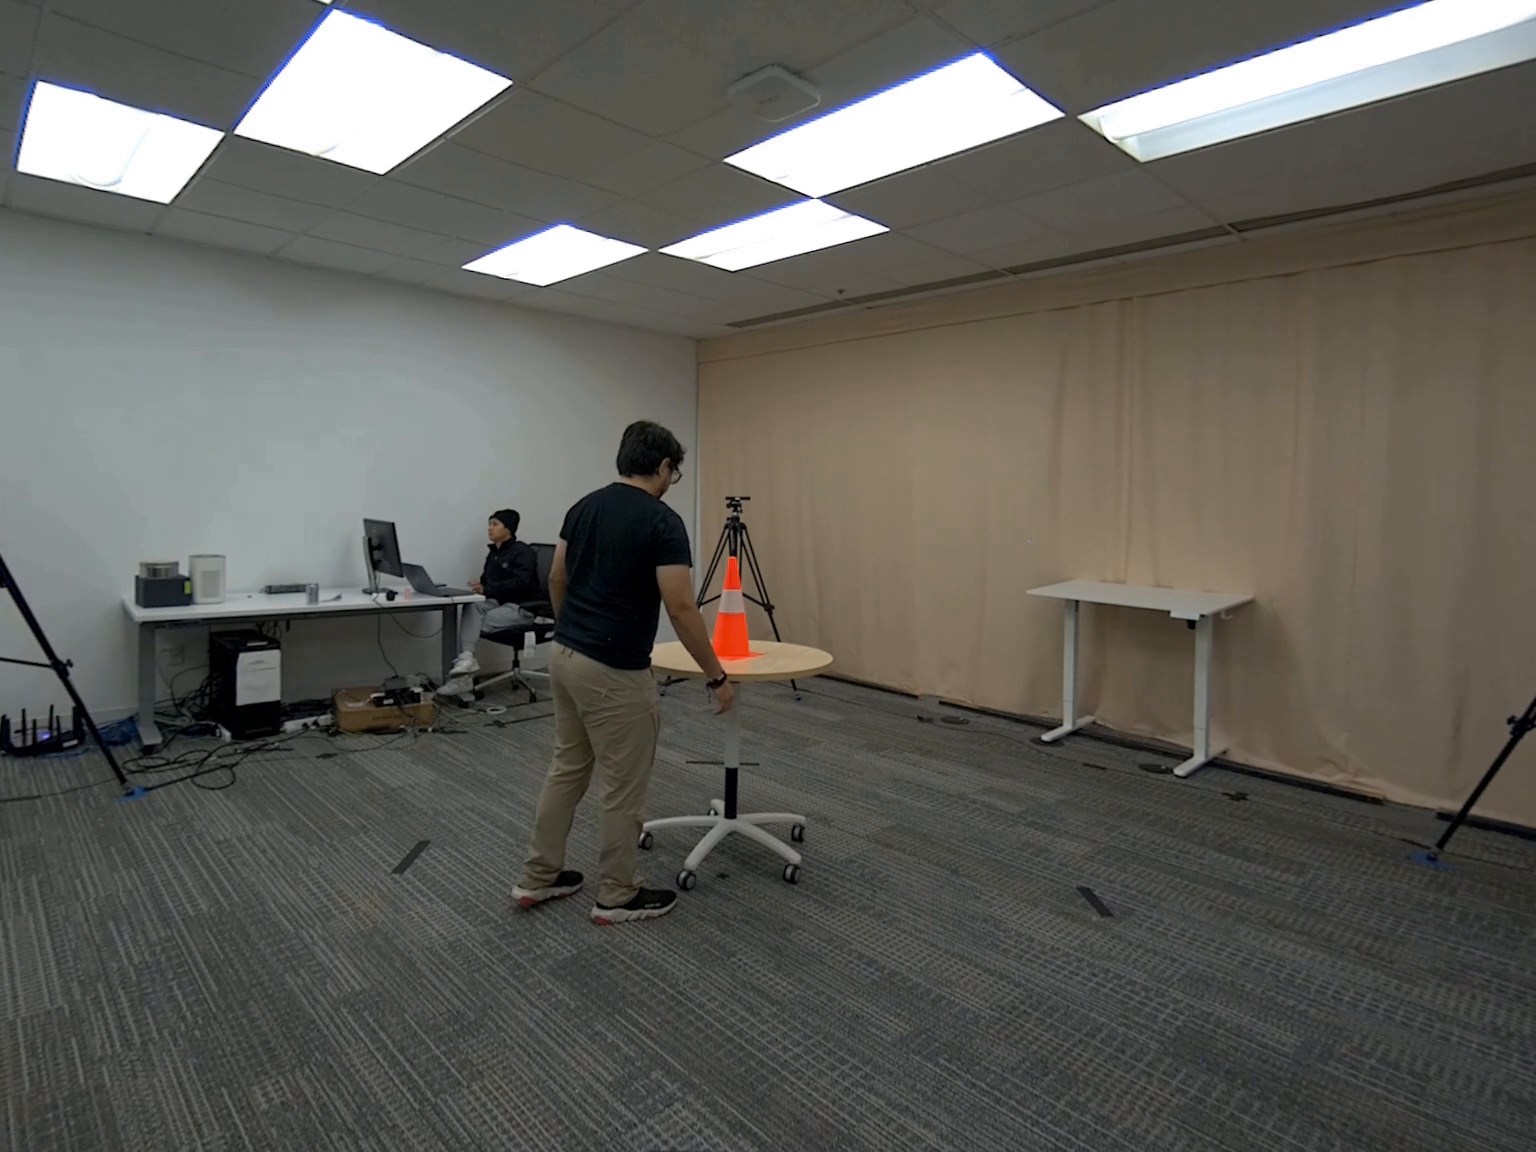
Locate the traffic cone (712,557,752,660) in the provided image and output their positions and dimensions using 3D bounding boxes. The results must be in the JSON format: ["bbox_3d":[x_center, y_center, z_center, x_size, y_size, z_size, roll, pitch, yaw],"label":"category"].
[{"bbox_3d":[-0.146,0.120,3.281,0.208,0.383,0.200,4,3,38],"label":"traffic cone"}]
